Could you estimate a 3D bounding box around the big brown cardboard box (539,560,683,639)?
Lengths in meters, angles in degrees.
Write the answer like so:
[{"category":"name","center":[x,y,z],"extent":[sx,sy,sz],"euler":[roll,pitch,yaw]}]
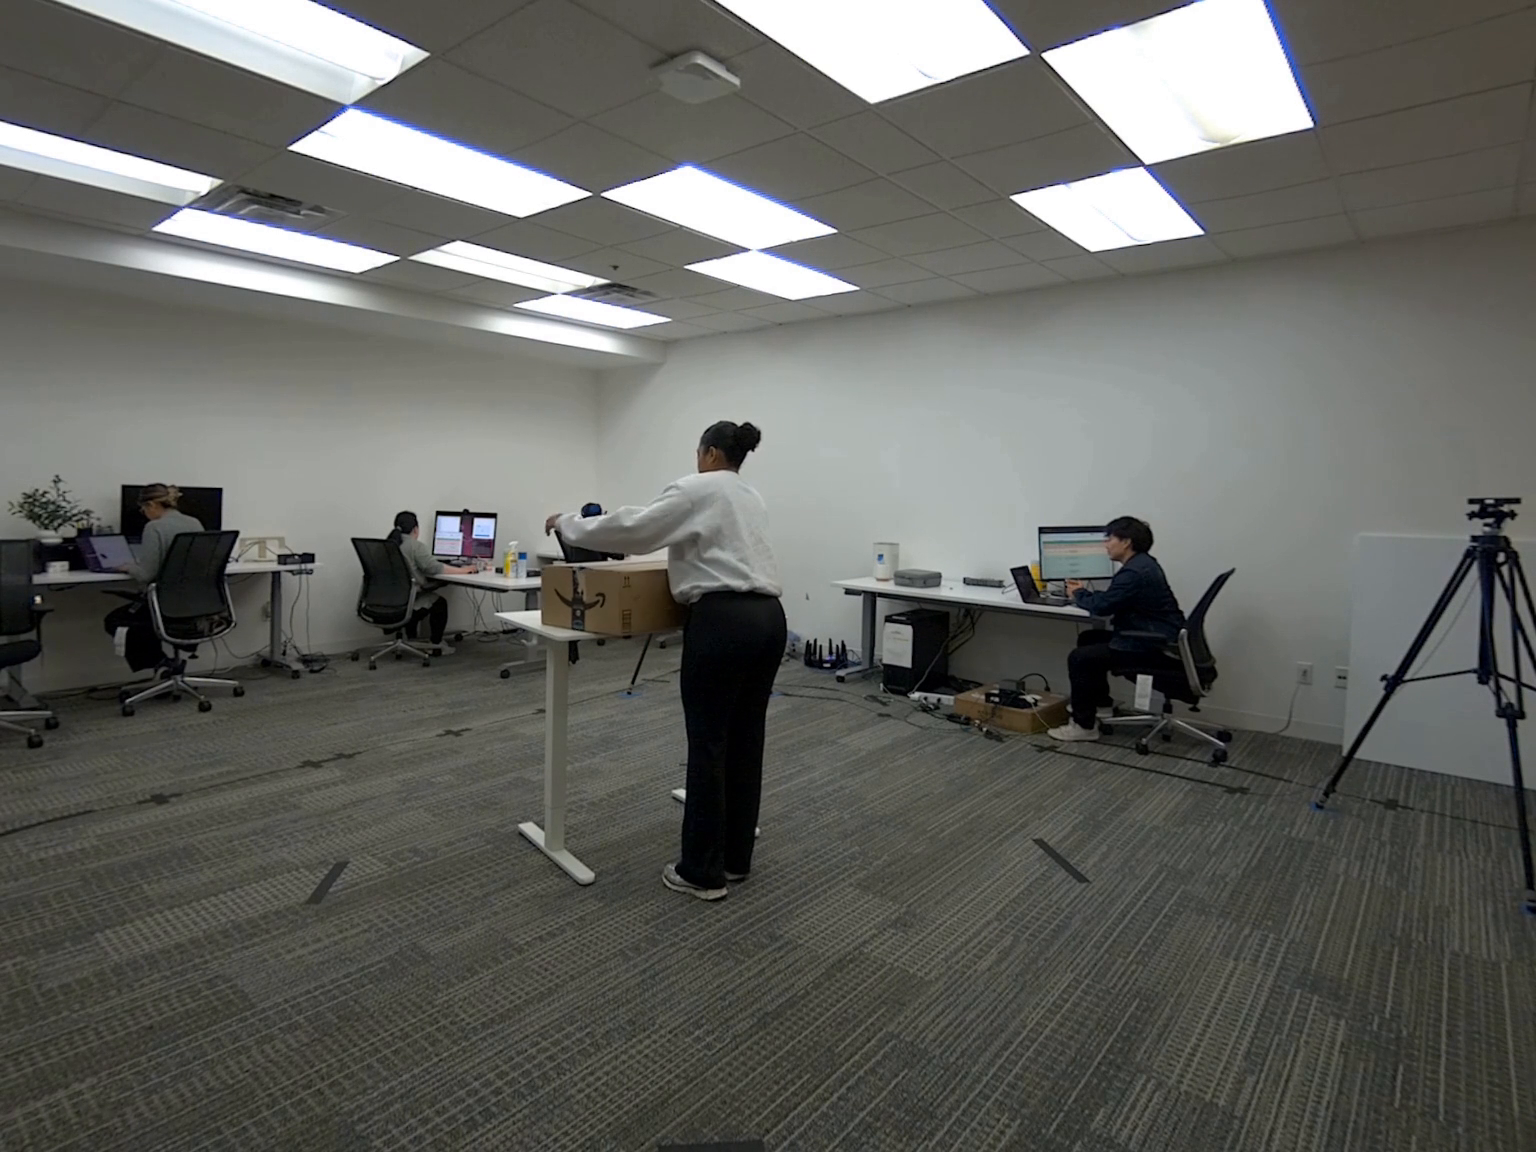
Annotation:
[{"category":"big brown cardboard box","center":[-0.506,0.063,3.163],"extent":[0.431,0.232,0.572],"euler":[4,6,36]}]
